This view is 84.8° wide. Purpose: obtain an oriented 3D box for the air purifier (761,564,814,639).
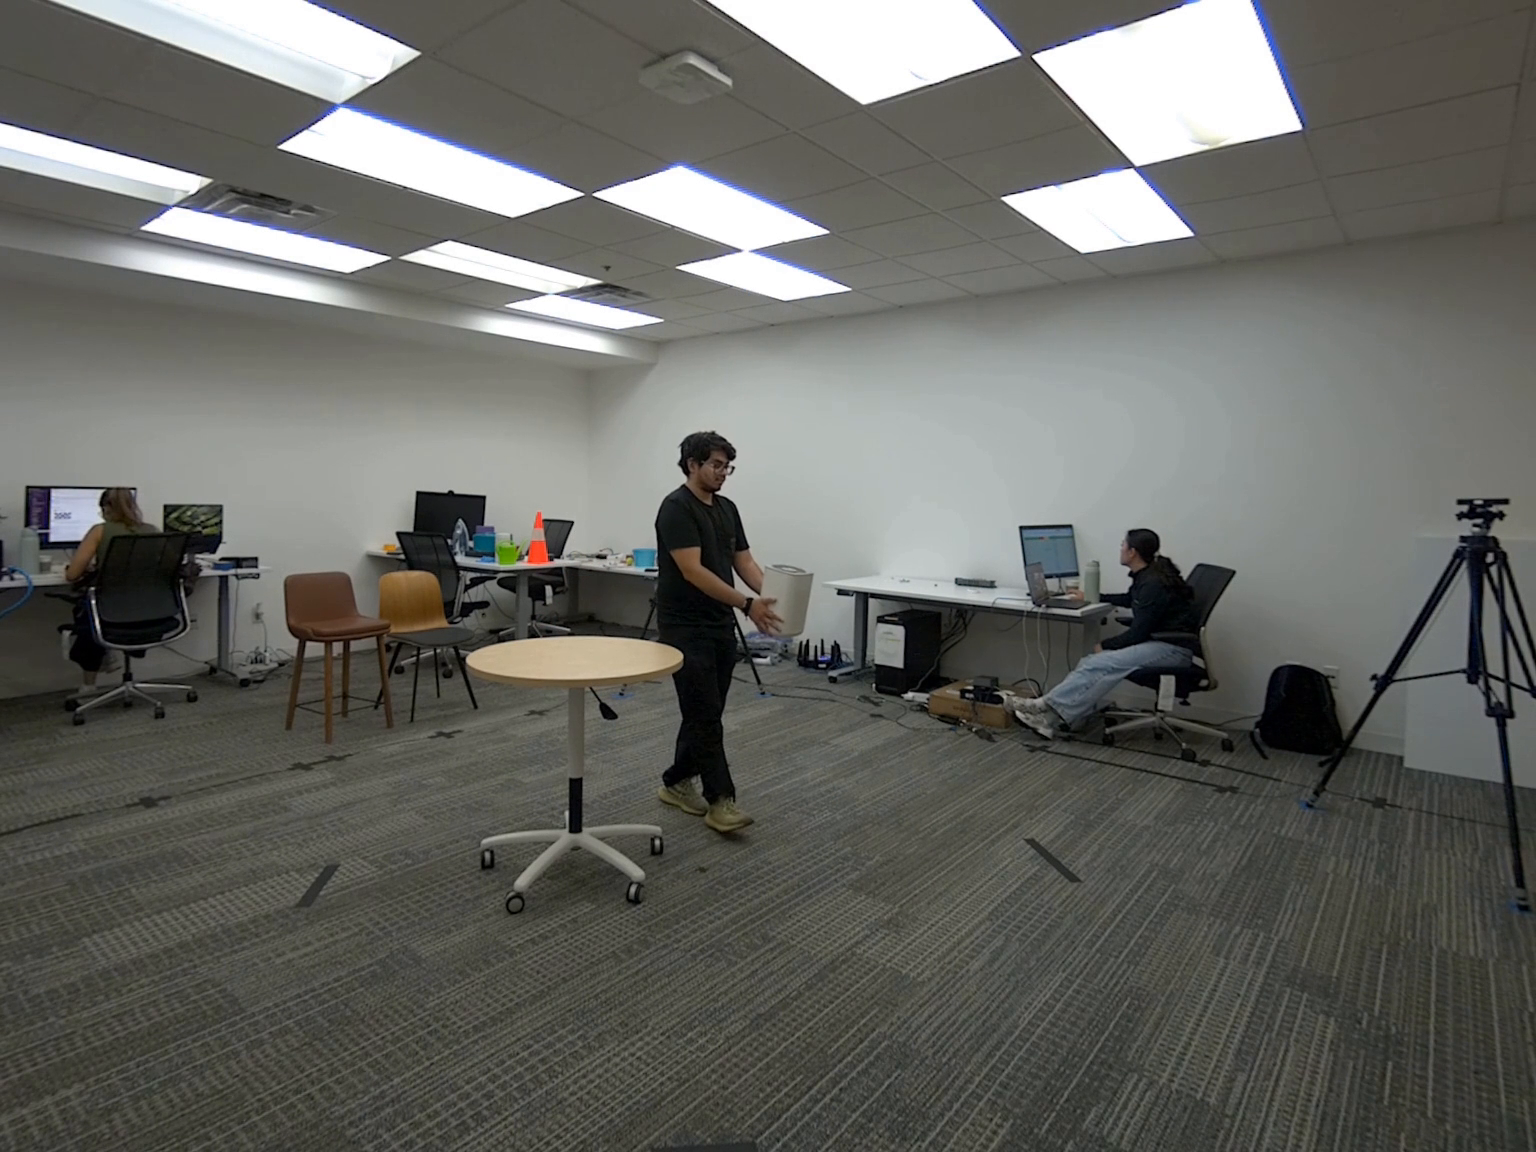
[{"bbox_3d":[0.059,0.093,3.409,0.177,0.263,0.167,16,12,35],"label":"air purifier"}]
